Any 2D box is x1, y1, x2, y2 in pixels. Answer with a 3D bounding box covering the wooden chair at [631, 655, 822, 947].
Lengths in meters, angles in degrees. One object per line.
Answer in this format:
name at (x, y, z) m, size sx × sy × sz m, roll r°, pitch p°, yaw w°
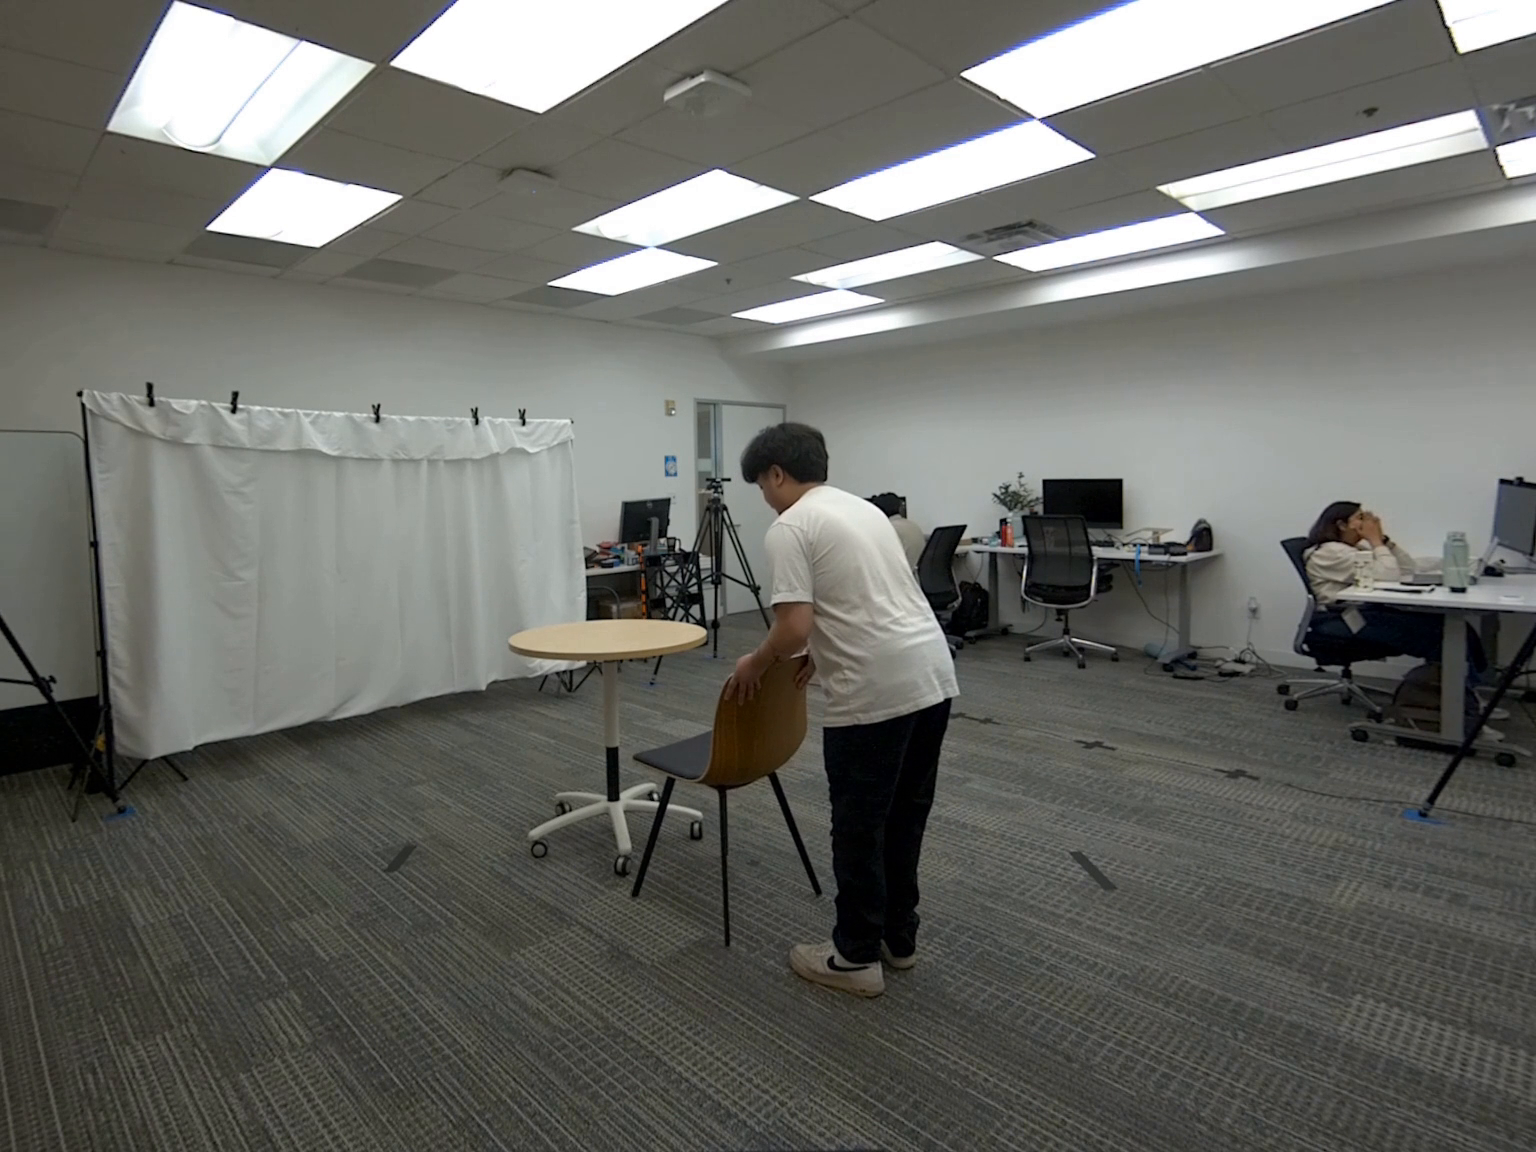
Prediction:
wooden chair at (-0.148, 0.645, 2.836) m, size 0.540 × 0.872 × 0.465 m, roll 9°, pitch 10°, yaw 43°
